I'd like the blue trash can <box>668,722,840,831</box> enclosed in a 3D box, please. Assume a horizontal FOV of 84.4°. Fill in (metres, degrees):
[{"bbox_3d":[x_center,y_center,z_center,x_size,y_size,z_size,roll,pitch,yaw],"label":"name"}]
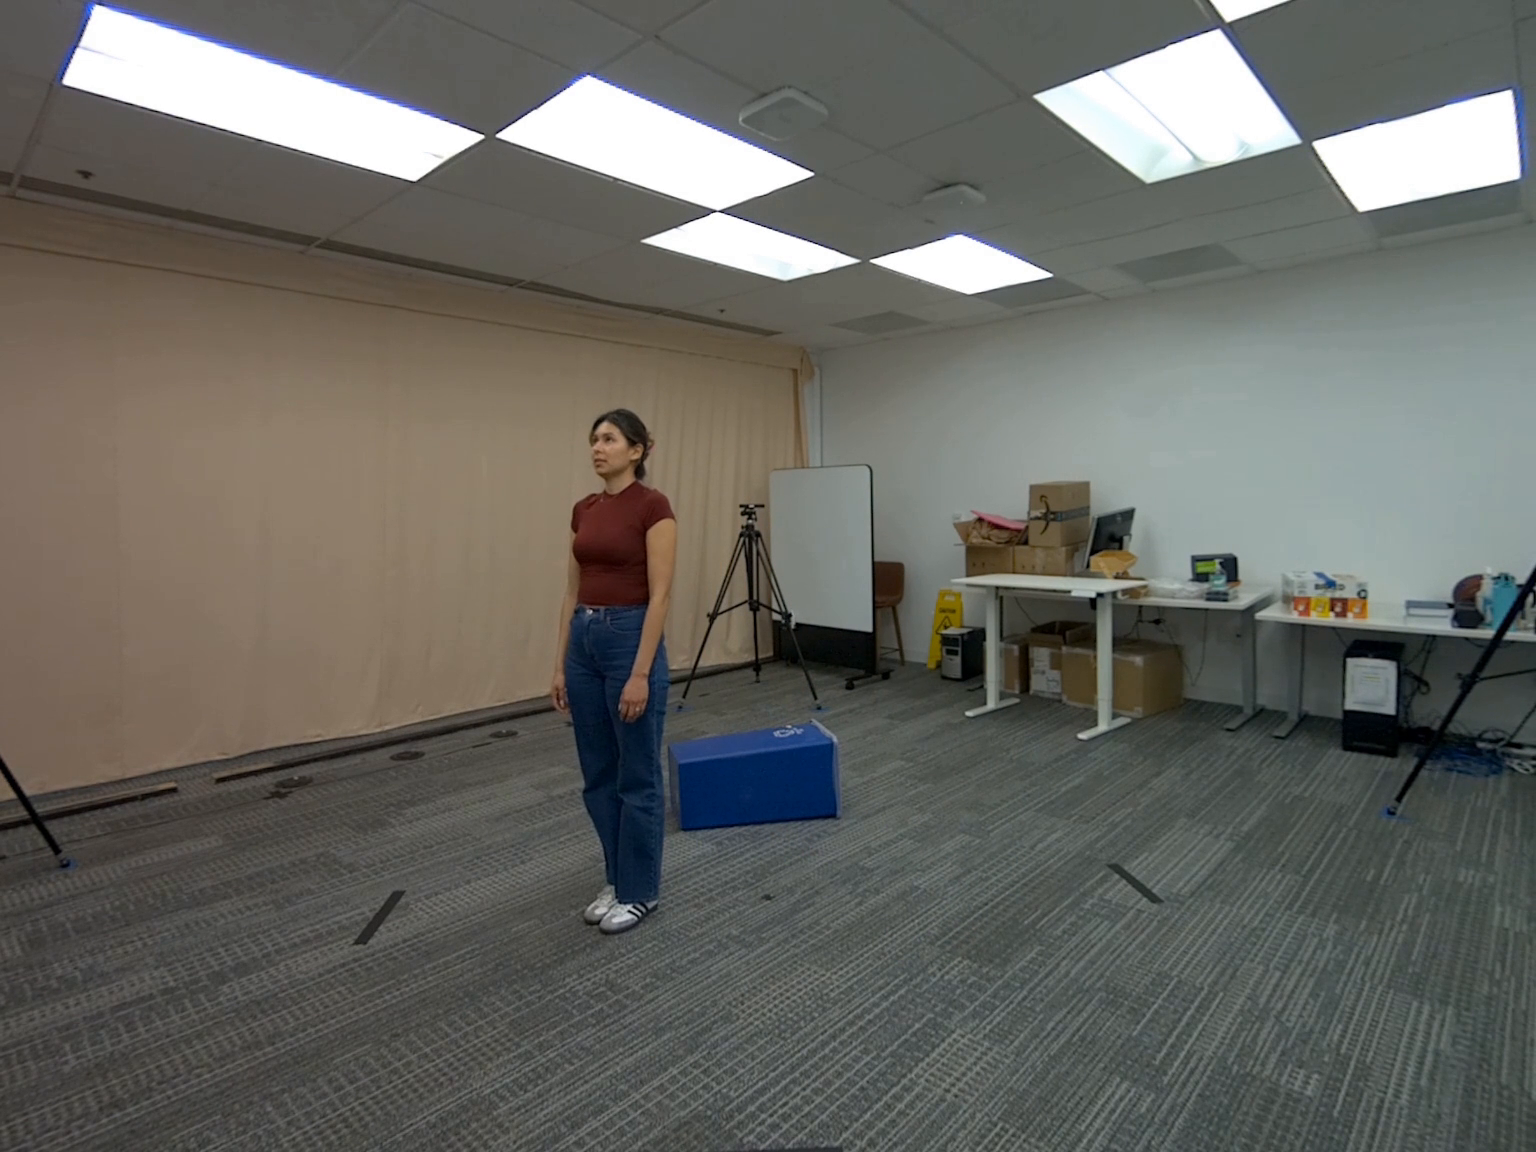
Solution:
[{"bbox_3d":[-0.067,0.904,3.797,0.704,0.377,0.380,-5,4,-13],"label":"blue trash can"}]
